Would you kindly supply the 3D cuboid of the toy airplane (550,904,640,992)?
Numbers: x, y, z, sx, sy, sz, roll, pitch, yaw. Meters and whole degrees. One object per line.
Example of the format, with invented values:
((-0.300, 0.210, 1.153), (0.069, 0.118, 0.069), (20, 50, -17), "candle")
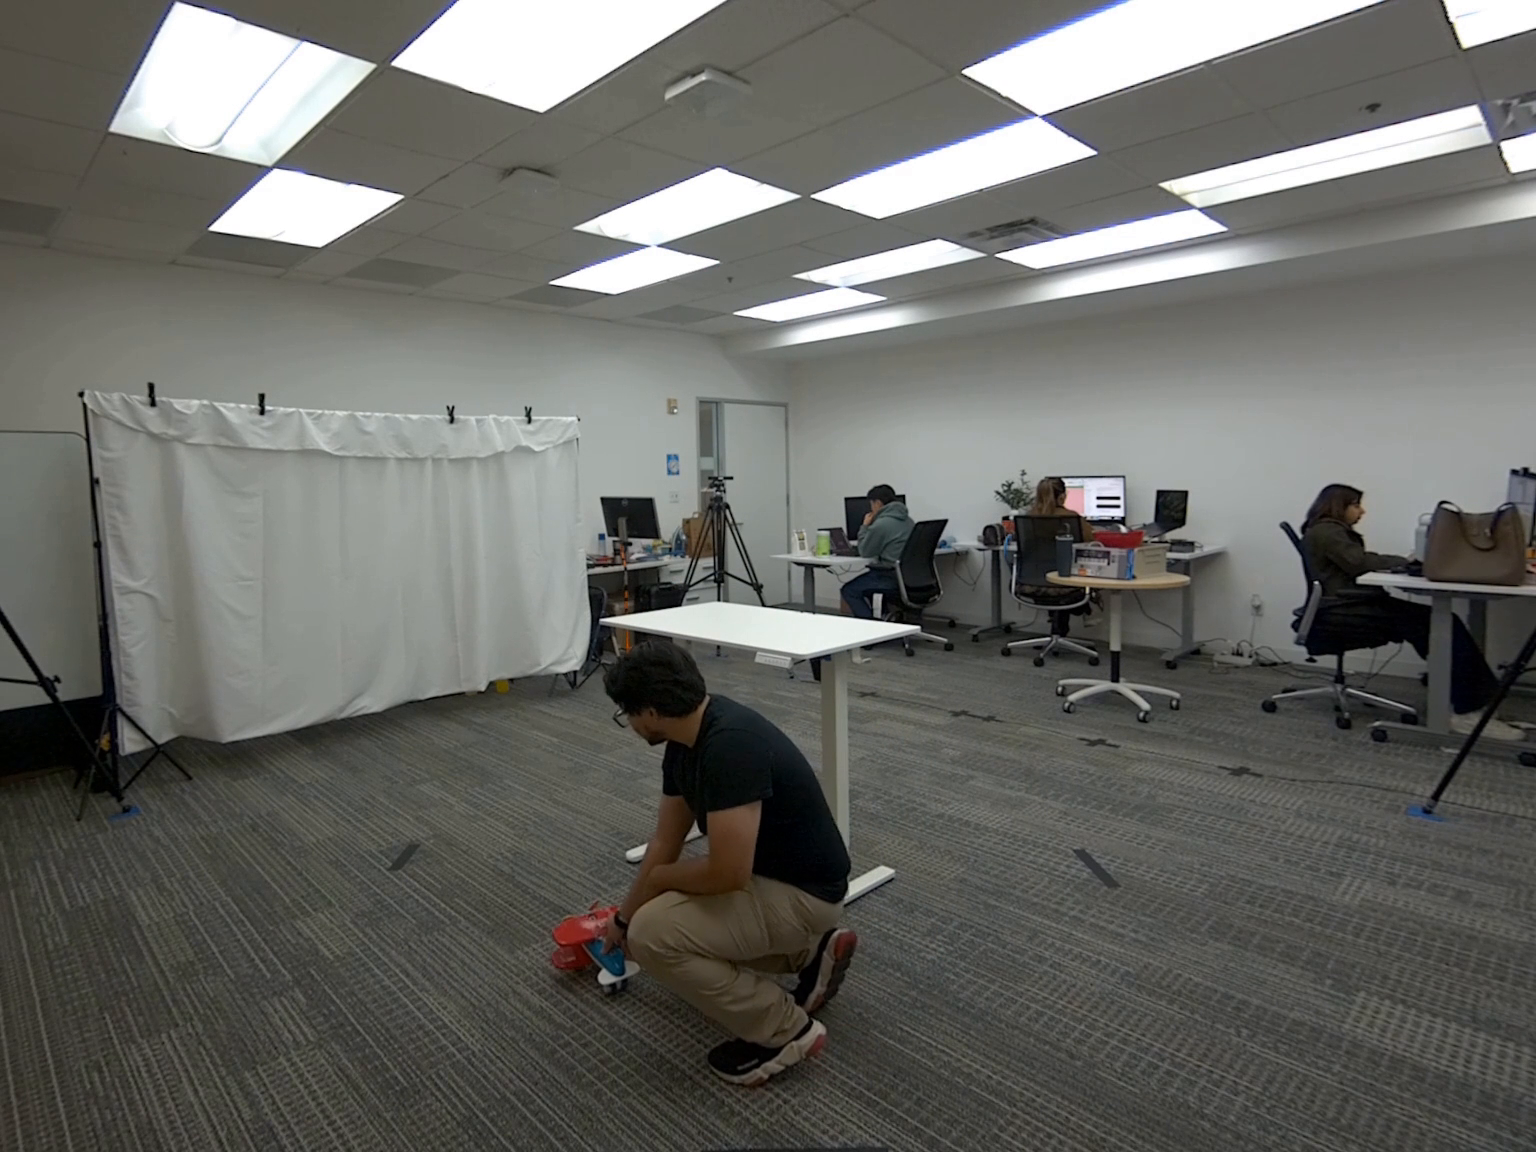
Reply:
((-0.460, 1.054, 2.429), (0.265, 0.155, 0.247), (2, 8, 25), "toy airplane")
